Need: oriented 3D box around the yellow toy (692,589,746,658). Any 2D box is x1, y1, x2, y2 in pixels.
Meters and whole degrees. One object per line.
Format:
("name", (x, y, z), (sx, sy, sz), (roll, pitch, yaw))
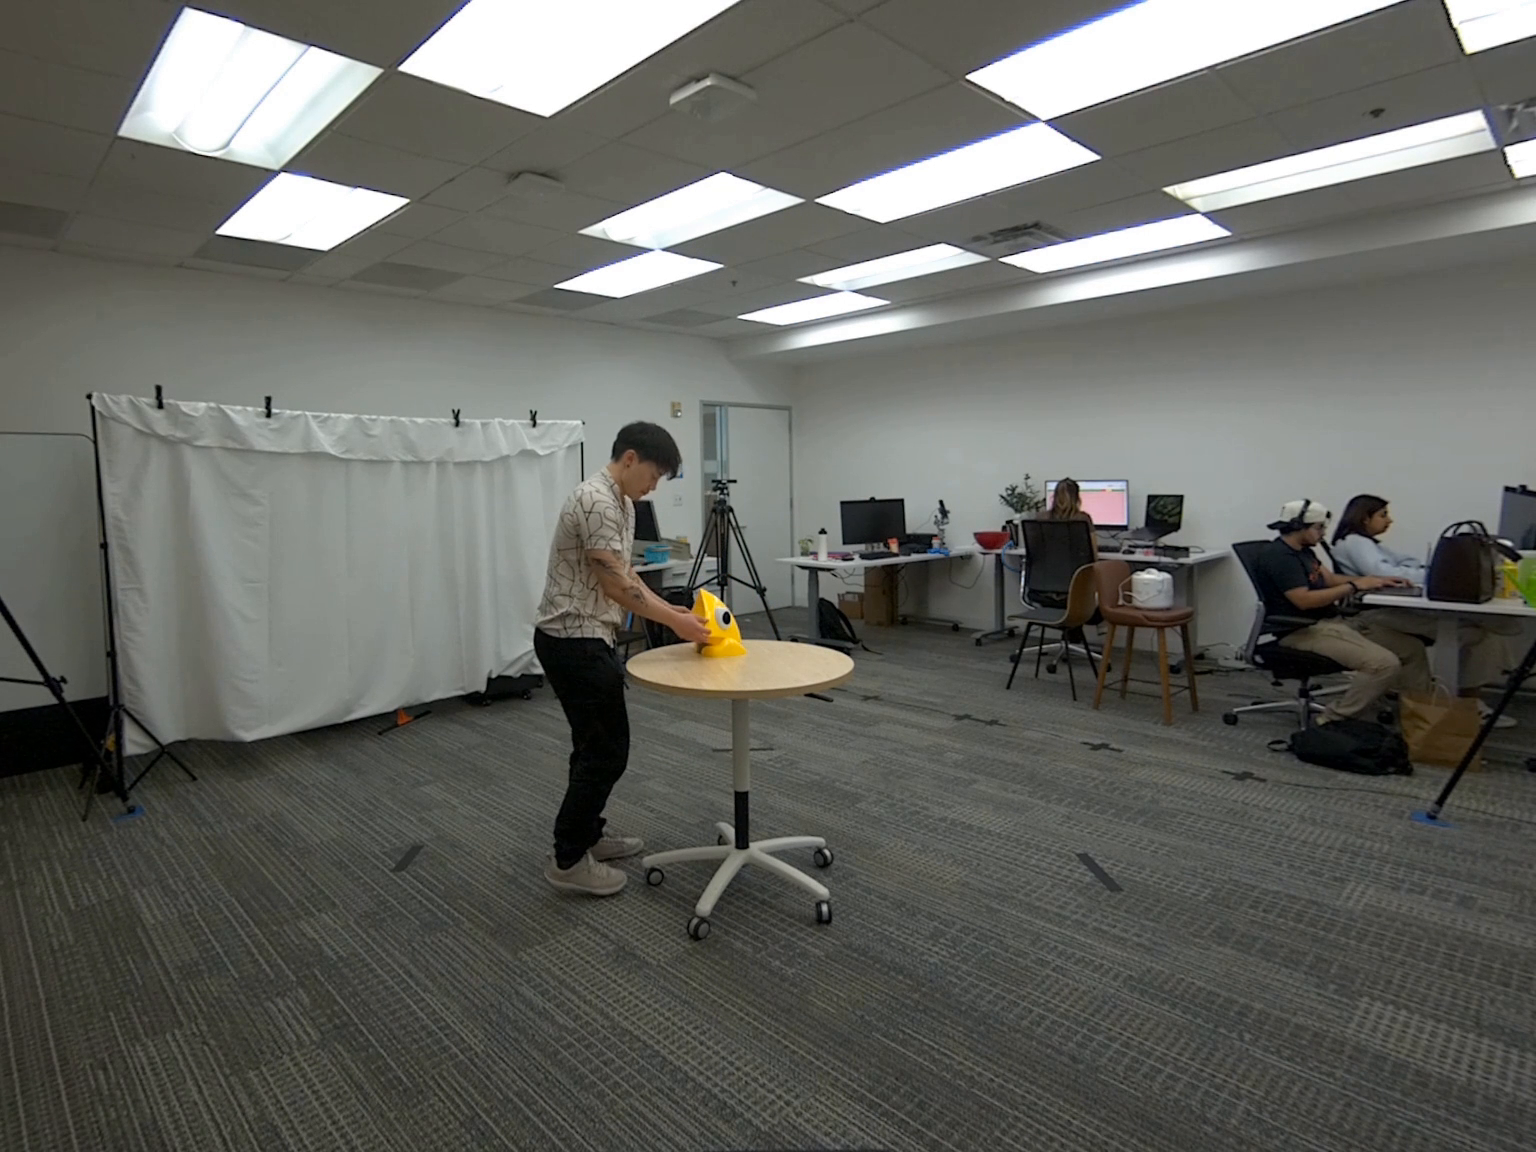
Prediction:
("yellow toy", (-0.184, 0.156, 3.061), (0.189, 0.230, 0.209), (-2, 4, -24))
